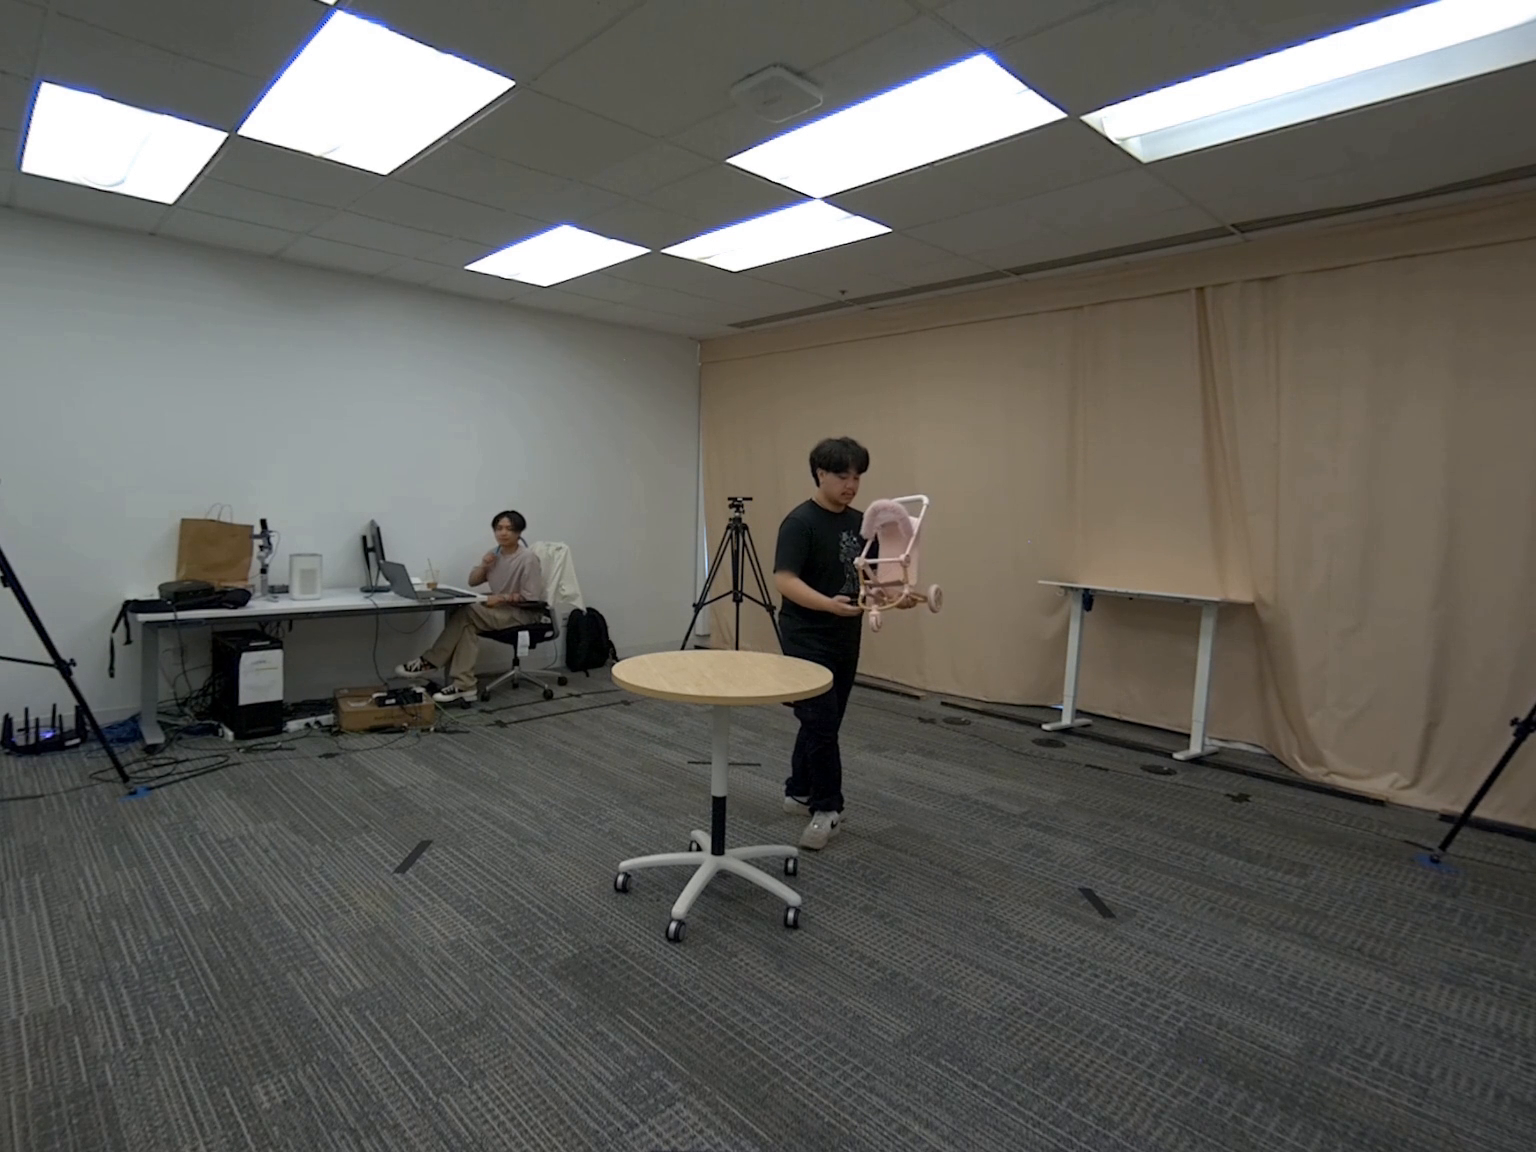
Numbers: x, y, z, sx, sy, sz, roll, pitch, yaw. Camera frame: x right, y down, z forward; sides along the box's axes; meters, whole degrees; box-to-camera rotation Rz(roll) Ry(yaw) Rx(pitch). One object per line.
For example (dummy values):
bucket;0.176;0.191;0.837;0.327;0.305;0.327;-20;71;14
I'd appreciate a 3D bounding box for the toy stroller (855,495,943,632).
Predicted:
toy stroller;0.456;-0.055;3.246;0.287;0.537;0.333;-4;-5;41
